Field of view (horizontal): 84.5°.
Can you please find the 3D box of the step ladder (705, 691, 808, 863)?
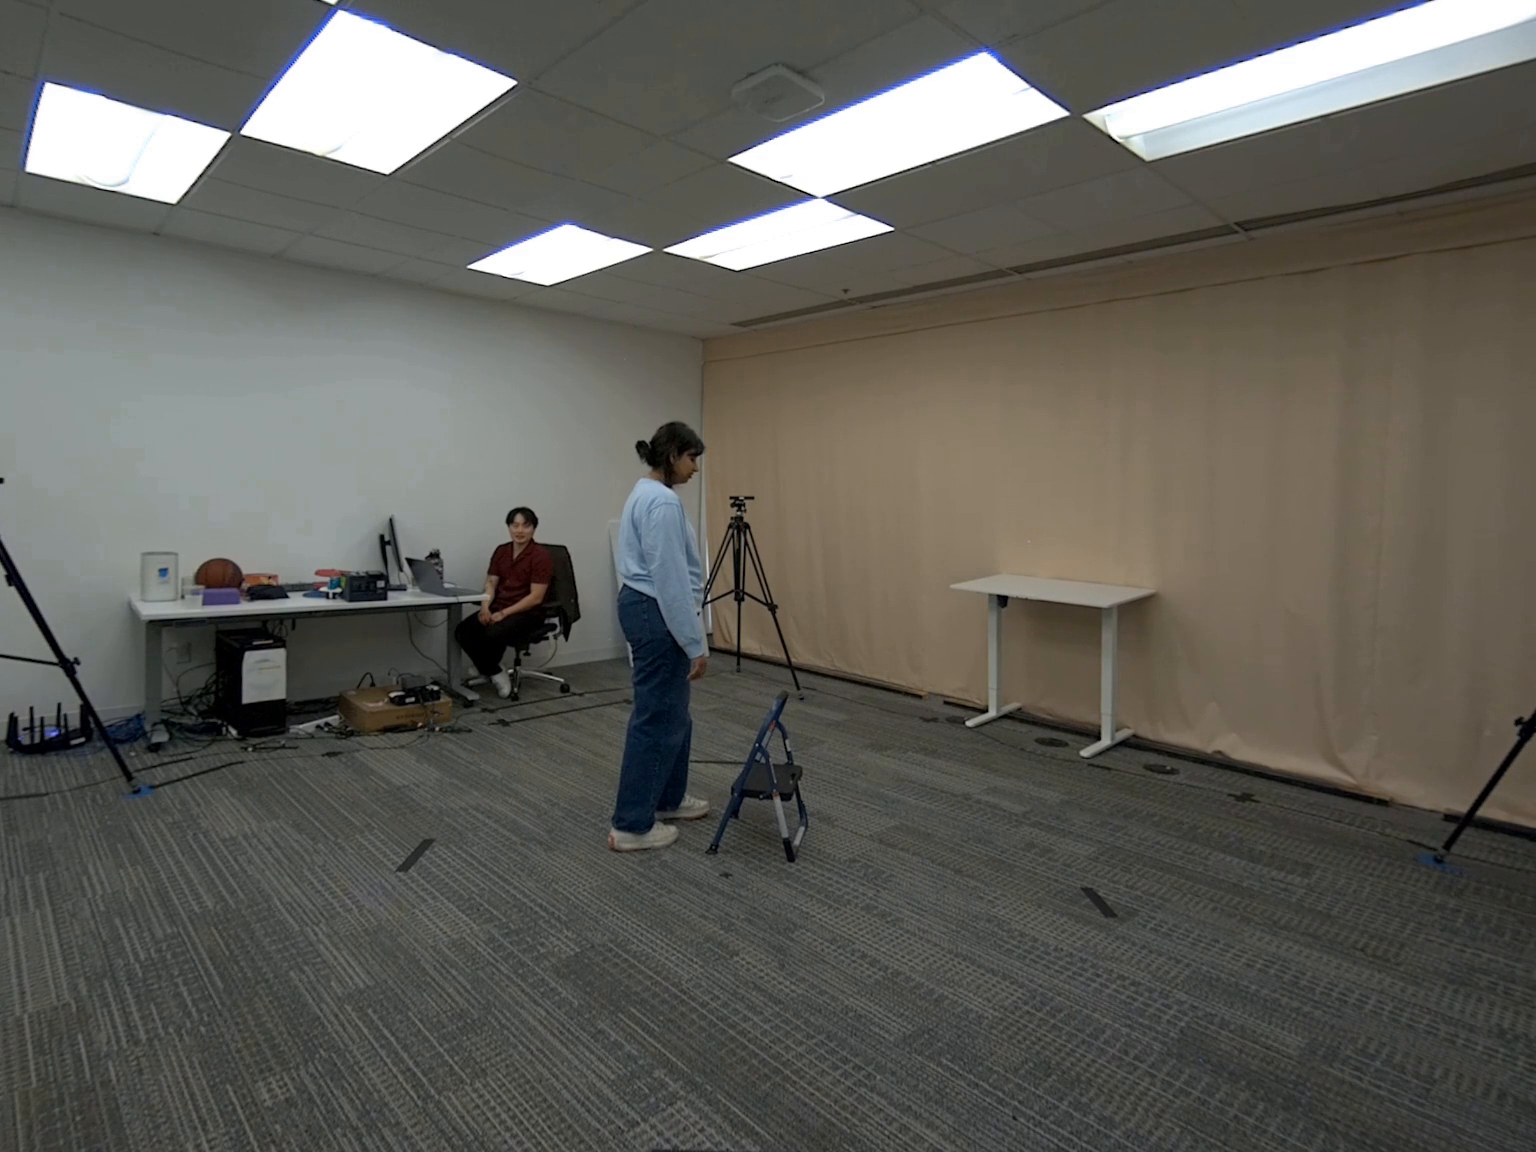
[{"bbox_3d":[-0.033,0.777,3.444,0.353,0.604,0.427,1,4,11],"label":"step ladder"}]
